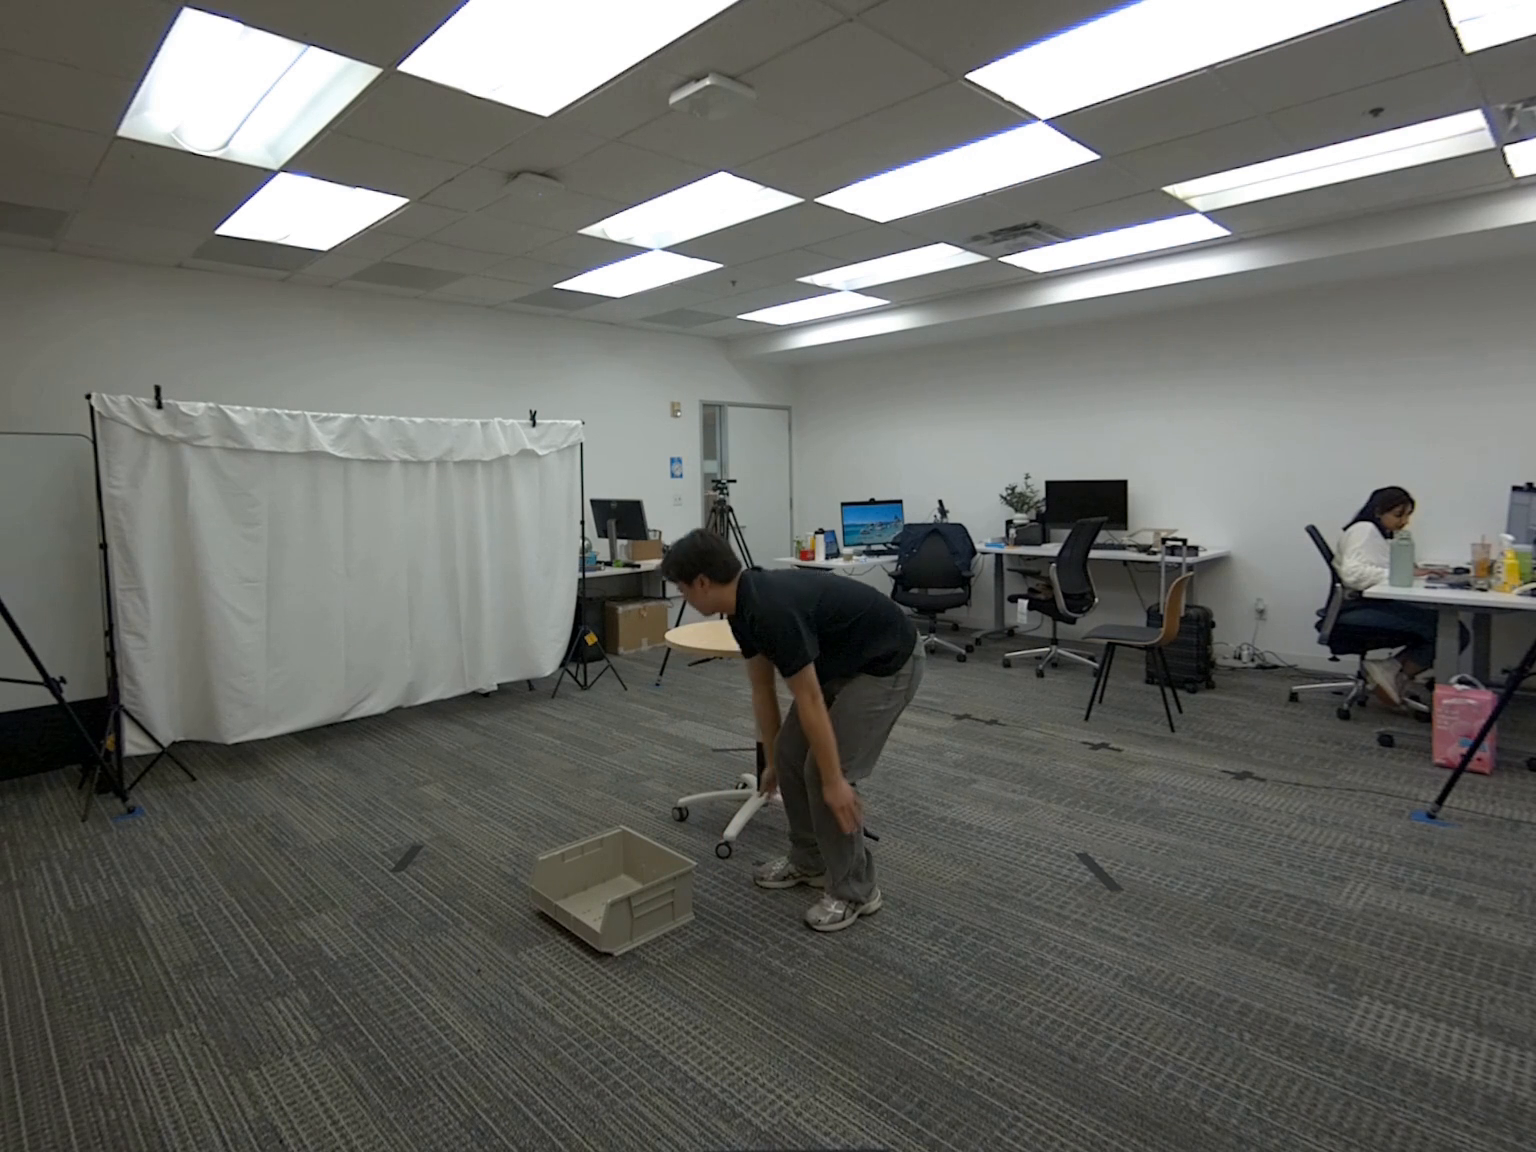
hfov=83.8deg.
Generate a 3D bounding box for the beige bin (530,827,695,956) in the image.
[{"bbox_3d":[-0.499,1.009,2.756,0.367,0.188,0.435,-6,8,-44],"label":"beige bin"}]
